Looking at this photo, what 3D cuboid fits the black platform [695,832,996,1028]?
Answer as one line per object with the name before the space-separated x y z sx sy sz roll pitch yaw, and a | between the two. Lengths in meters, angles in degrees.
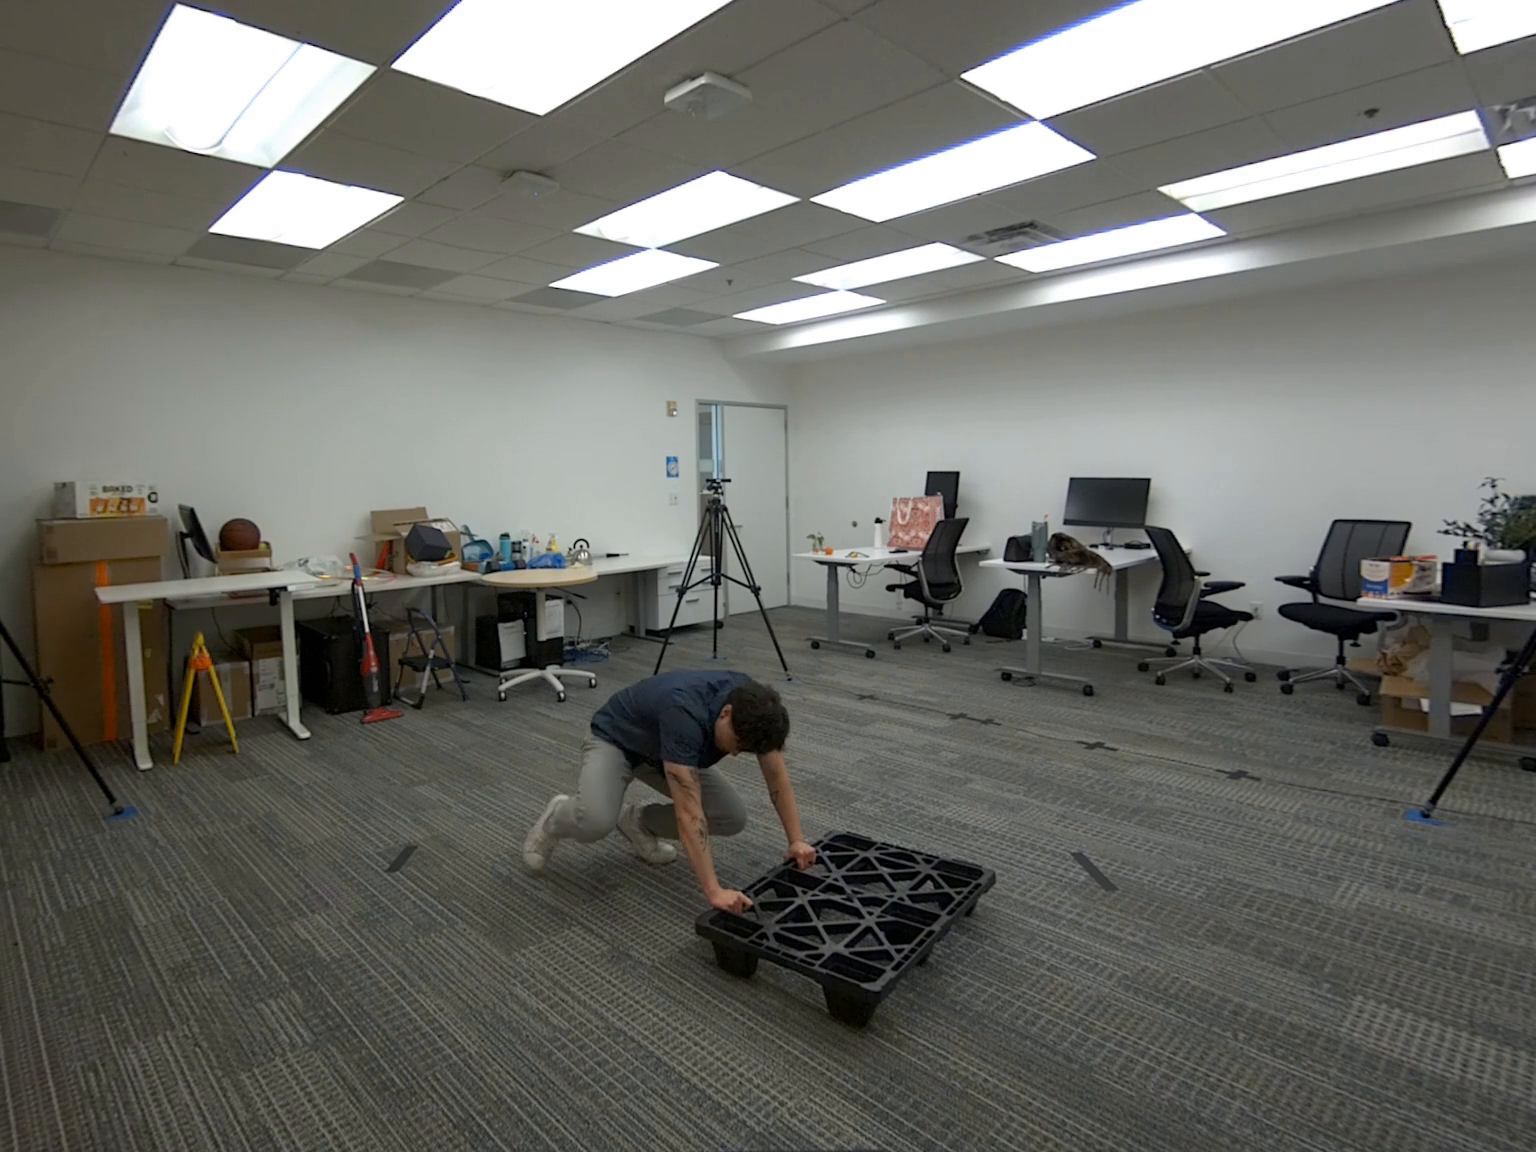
black platform | 0.267 1.032 2.583 0.623 0.142 0.786 3 8 37
